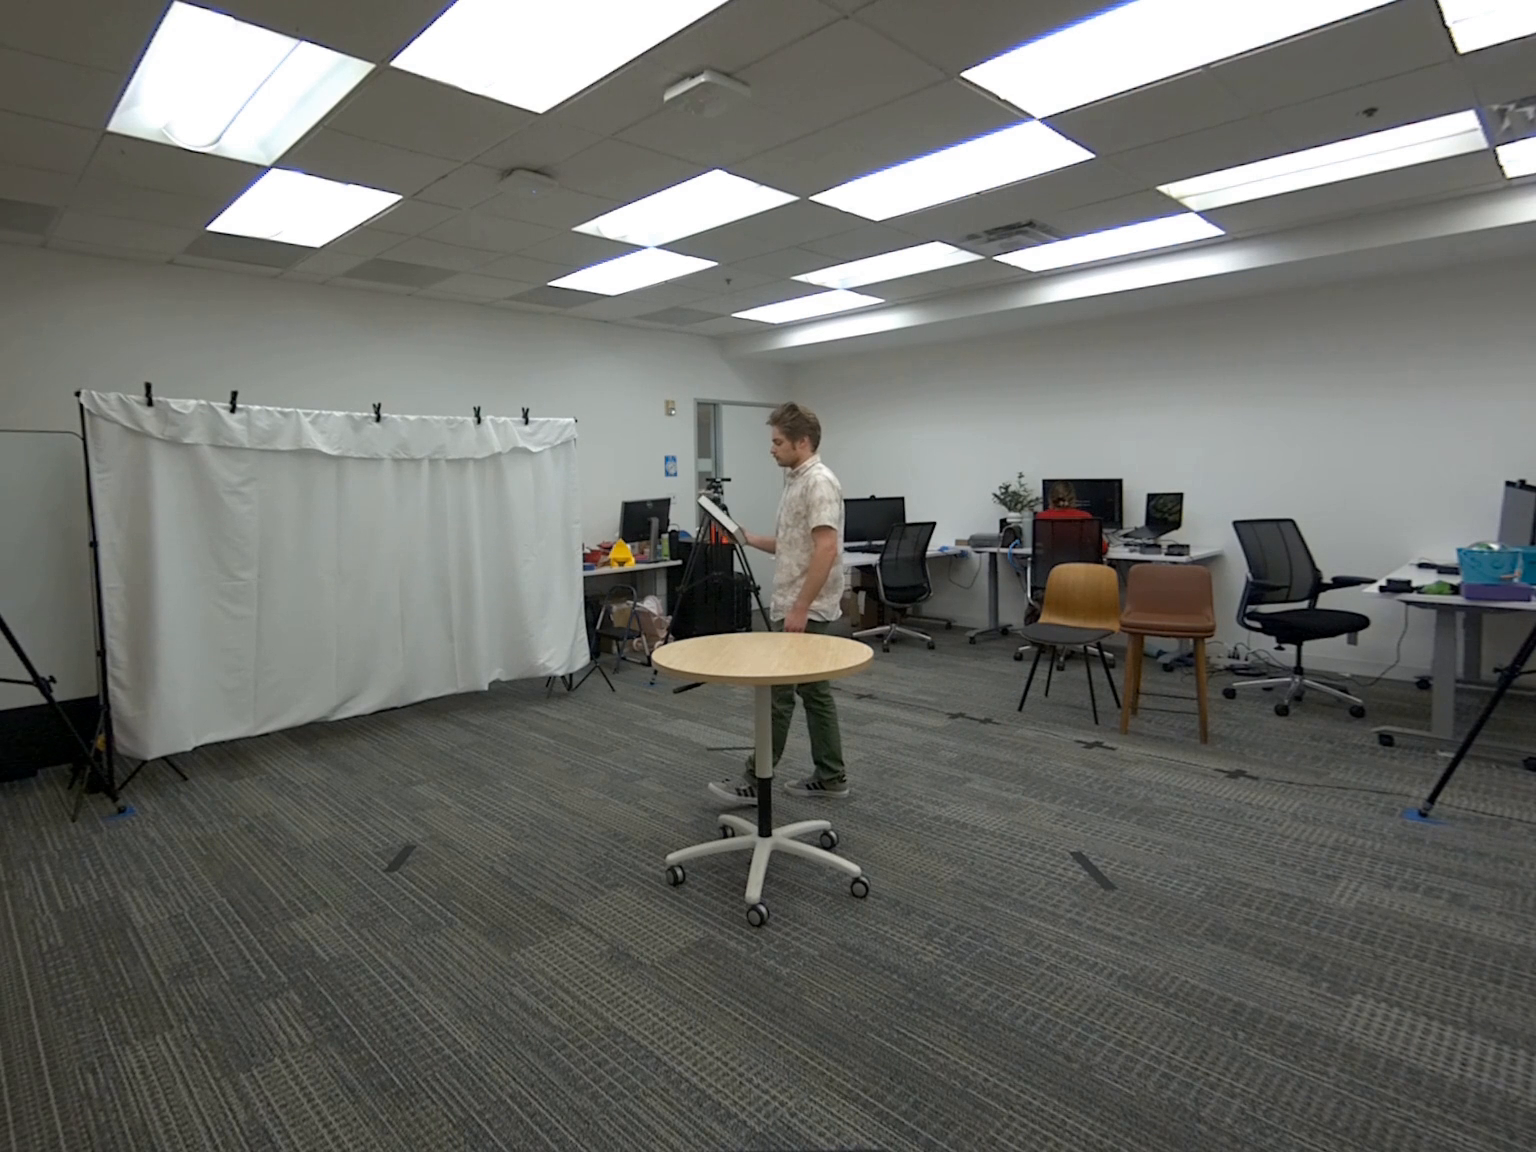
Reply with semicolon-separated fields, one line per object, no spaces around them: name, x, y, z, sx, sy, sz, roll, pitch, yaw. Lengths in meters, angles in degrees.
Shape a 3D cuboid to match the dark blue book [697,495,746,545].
dark blue book;-0.202;-0.250;3.773;0.253;0.045;0.158;43;-6;25
